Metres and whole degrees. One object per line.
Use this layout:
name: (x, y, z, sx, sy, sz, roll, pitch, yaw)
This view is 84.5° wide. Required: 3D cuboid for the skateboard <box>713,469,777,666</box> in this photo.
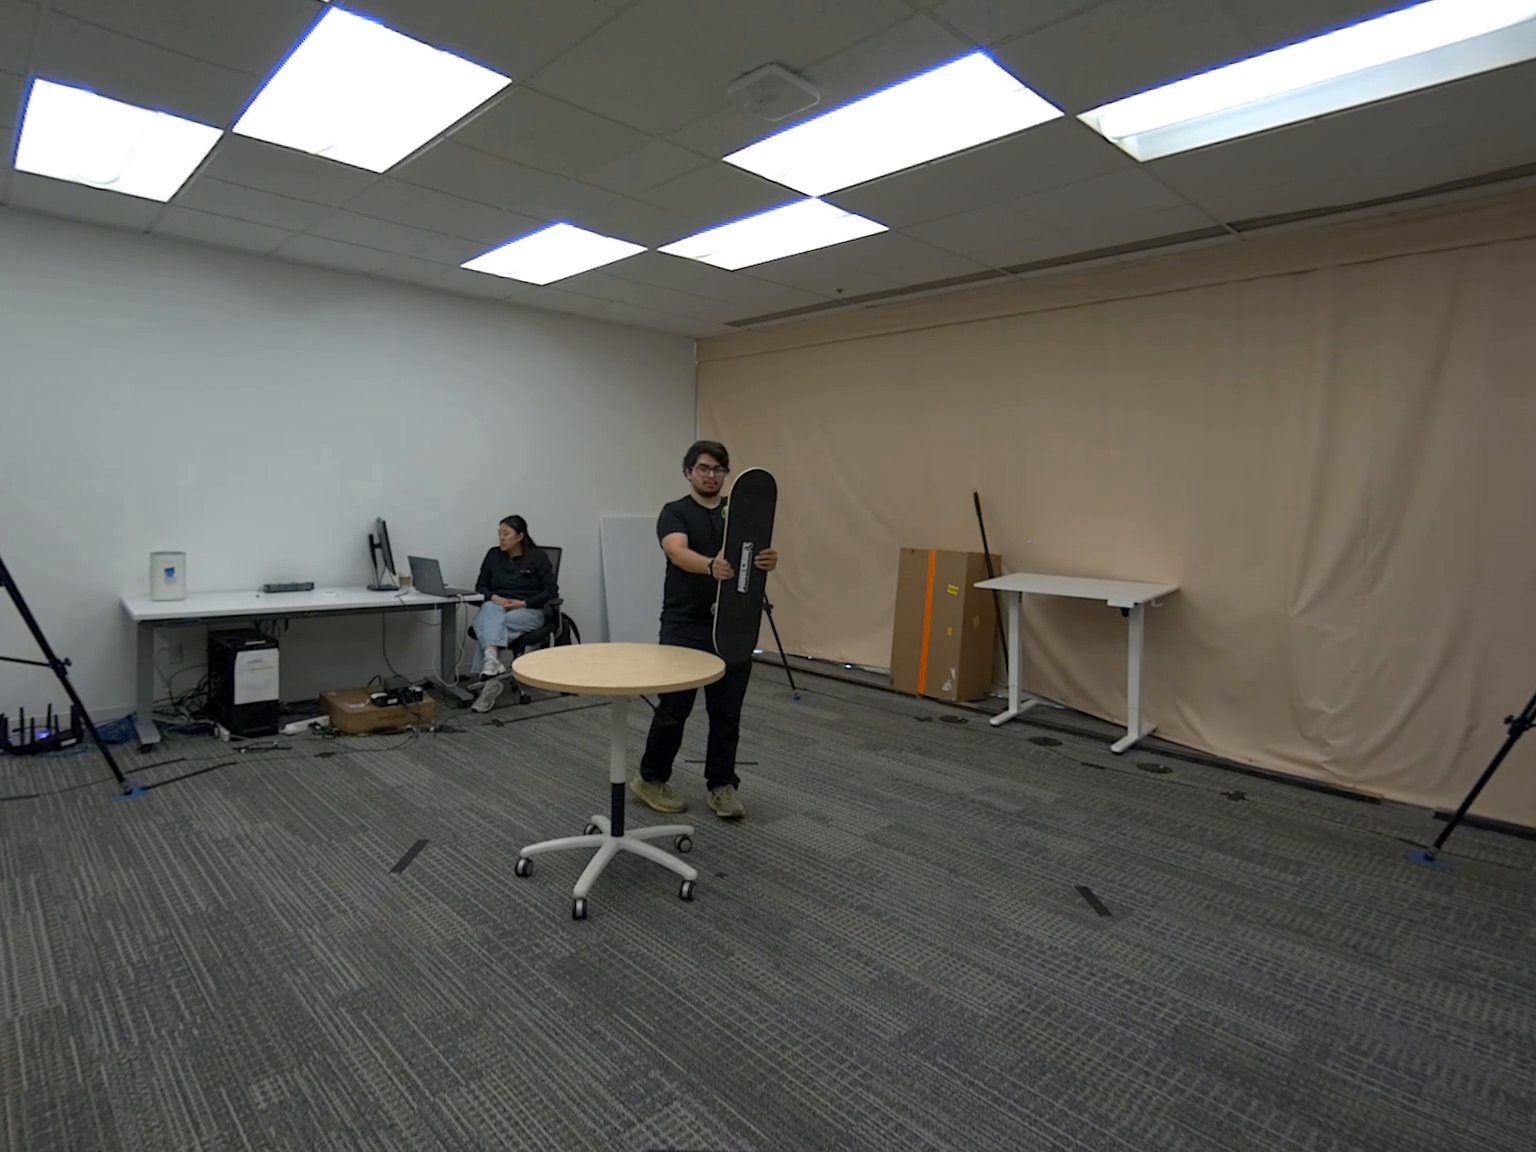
skateboard: (-0.117, -0.043, 3.297, 0.190, 0.777, 0.113, 1, 17, -21)
